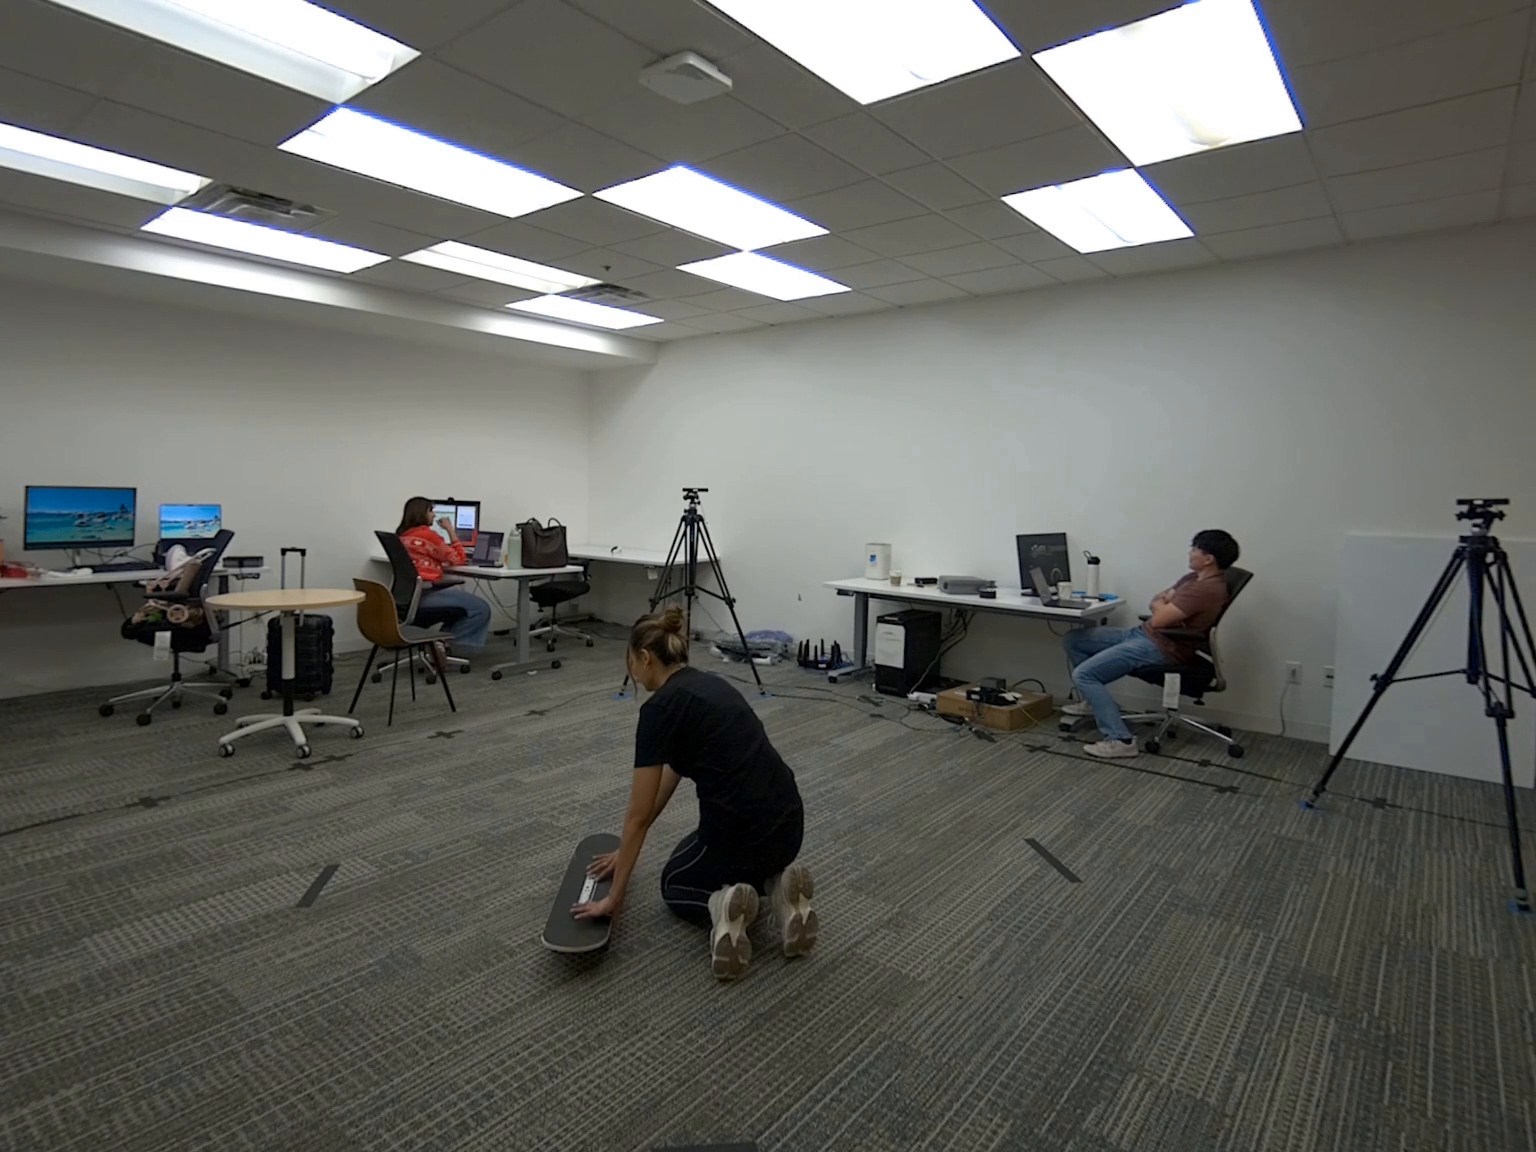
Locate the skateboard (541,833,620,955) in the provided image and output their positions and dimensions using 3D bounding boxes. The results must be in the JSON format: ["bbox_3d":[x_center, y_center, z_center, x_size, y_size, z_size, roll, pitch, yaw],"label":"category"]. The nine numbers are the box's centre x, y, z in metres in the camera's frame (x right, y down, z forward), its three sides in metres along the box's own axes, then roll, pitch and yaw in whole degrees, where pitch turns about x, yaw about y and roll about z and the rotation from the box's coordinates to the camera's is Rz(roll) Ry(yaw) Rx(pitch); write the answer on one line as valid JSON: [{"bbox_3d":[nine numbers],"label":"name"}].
[{"bbox_3d":[-0.585,1.033,2.761,0.193,0.110,0.790,2,5,-4],"label":"skateboard"}]
